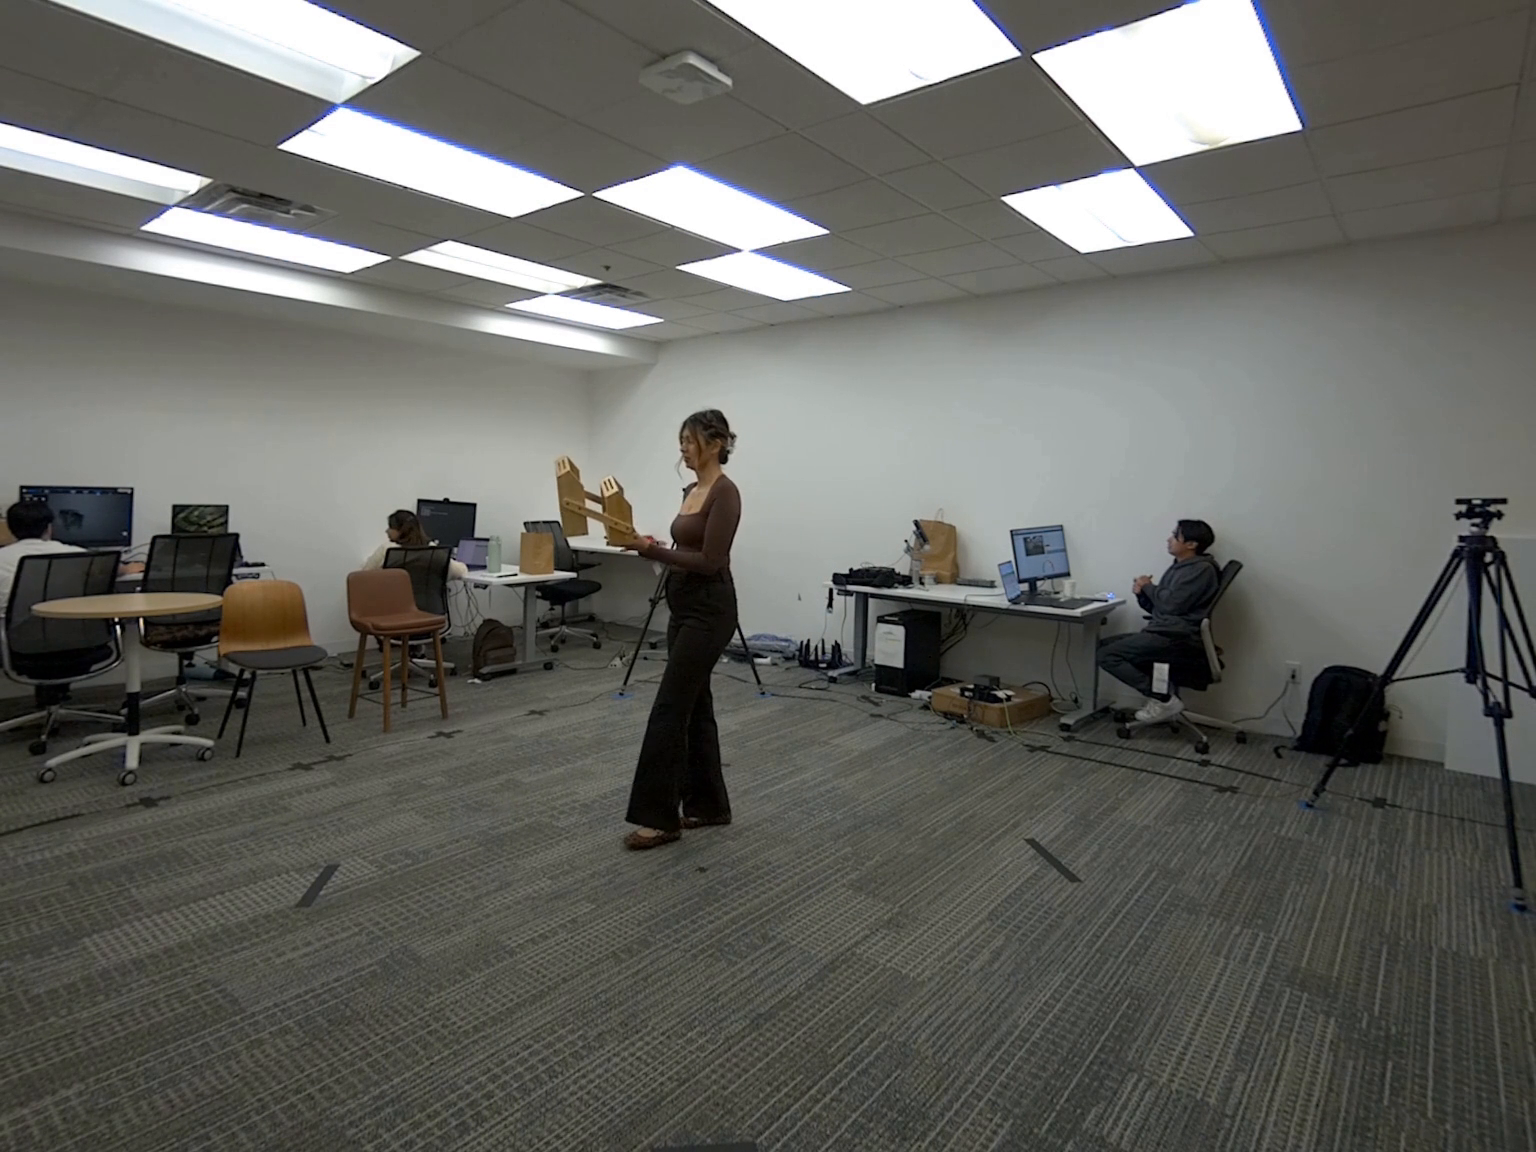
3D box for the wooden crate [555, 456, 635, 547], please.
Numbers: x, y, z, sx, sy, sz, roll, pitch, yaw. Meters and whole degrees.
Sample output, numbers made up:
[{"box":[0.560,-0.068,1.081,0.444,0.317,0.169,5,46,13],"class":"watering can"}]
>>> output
[{"box":[-0.675,-0.300,3.271,0.270,0.297,0.334,-6,18,-13],"class":"wooden crate"}]
